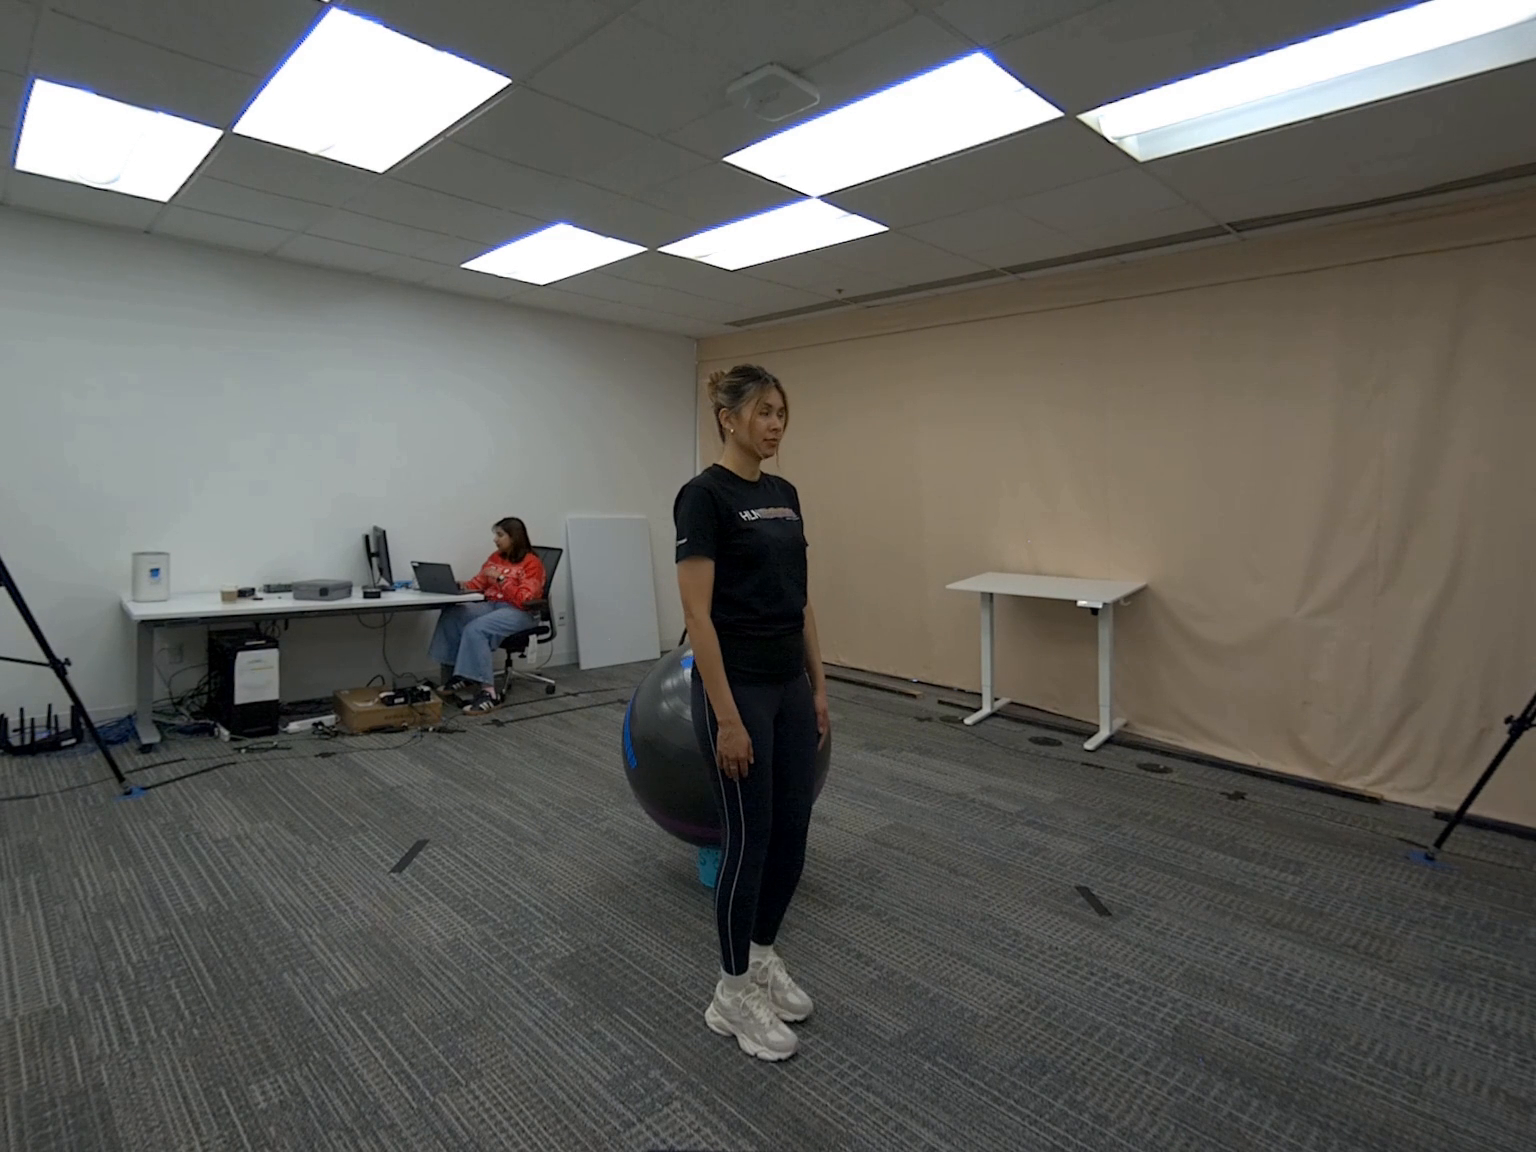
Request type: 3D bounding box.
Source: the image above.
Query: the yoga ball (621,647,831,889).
[{"bbox_3d":[-0.155,0.605,3.056,0.757,0.756,0.761,1,4,-1],"label":"yoga ball"}]
